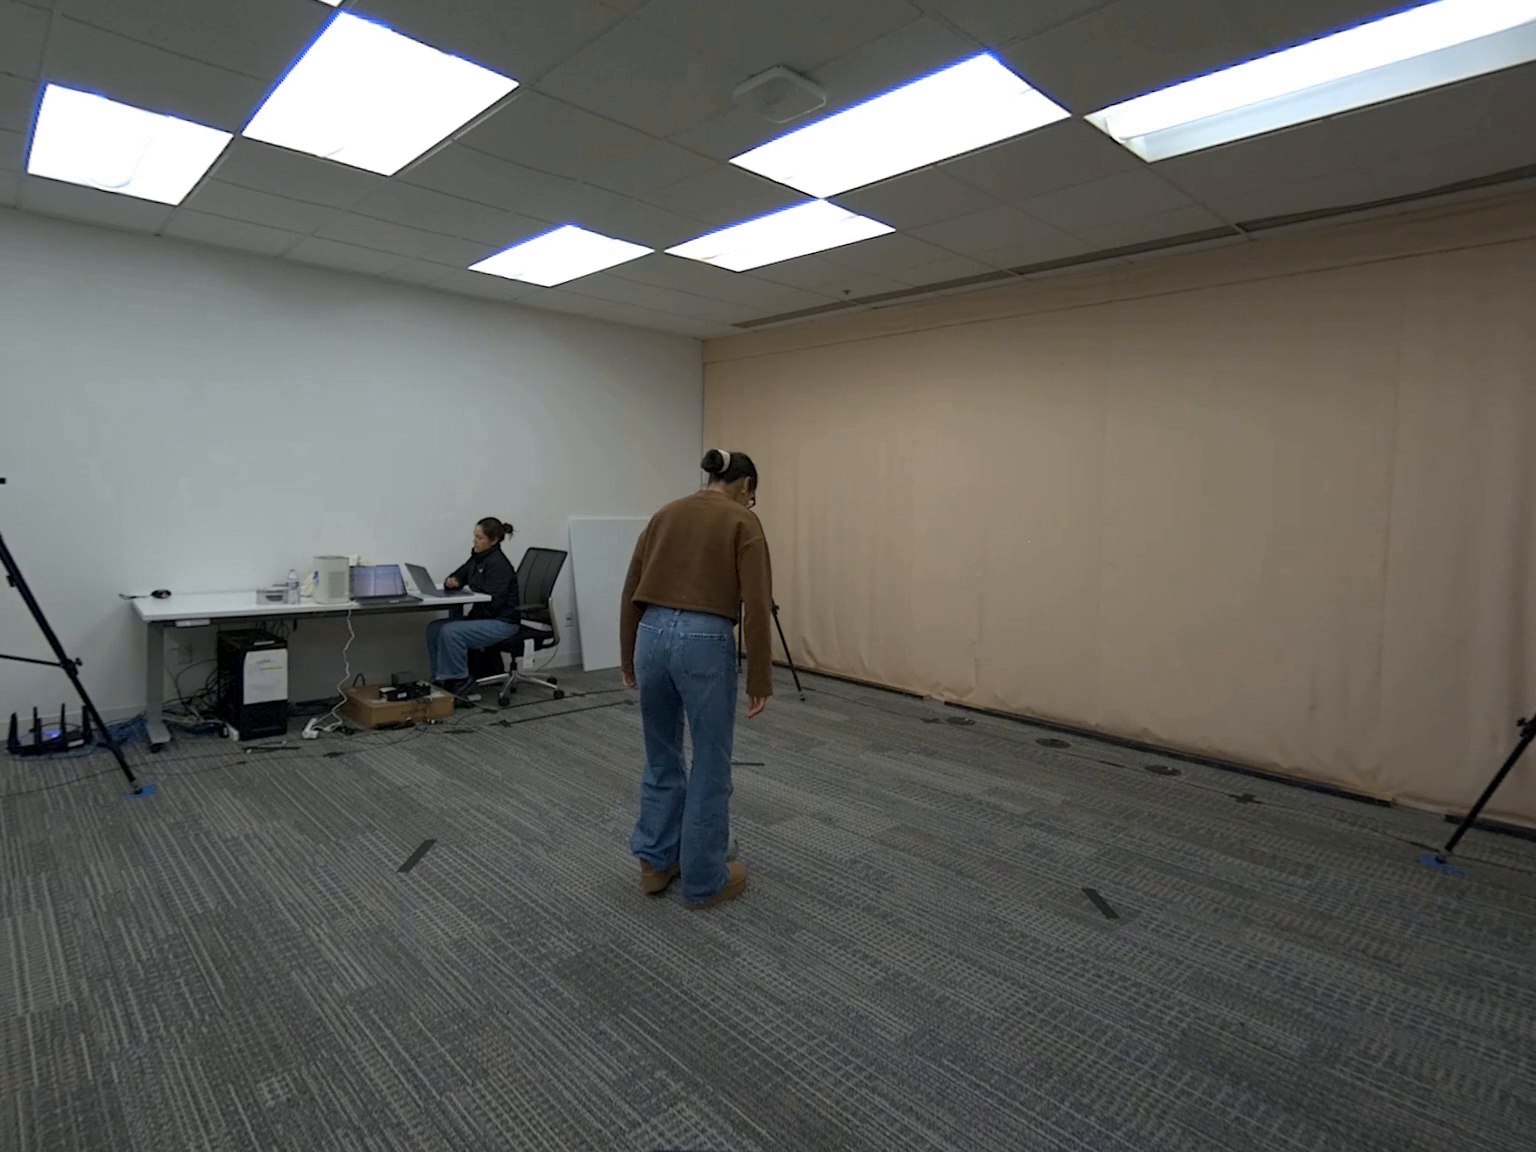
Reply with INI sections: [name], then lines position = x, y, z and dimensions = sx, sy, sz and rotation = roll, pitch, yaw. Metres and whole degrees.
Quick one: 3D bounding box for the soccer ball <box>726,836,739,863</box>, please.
[soccer ball]
position = -0.210, 1.014, 3.144
dimensions = 0.187, 0.187, 0.188
rotation = 1, 4, -1
